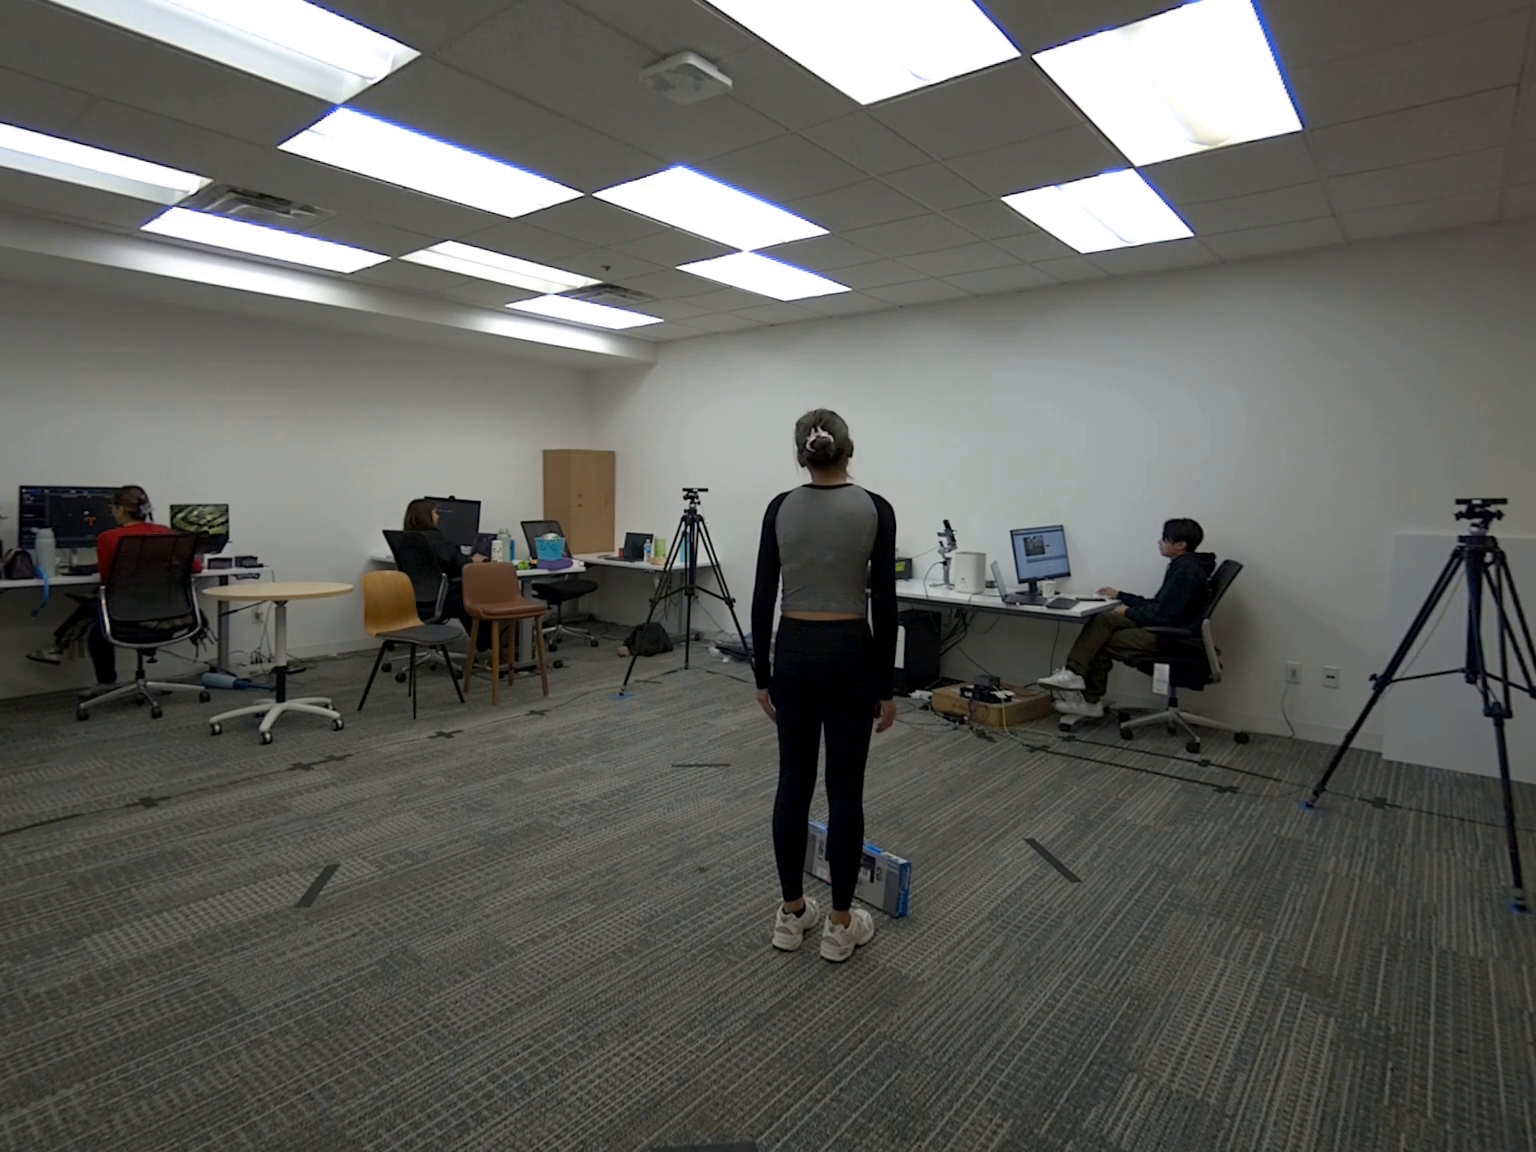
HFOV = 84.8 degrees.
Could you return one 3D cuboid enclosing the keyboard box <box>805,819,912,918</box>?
[{"bbox_3d":[0.293,1.008,2.963,0.057,0.176,0.452,6,1,-42],"label":"keyboard box"}]
